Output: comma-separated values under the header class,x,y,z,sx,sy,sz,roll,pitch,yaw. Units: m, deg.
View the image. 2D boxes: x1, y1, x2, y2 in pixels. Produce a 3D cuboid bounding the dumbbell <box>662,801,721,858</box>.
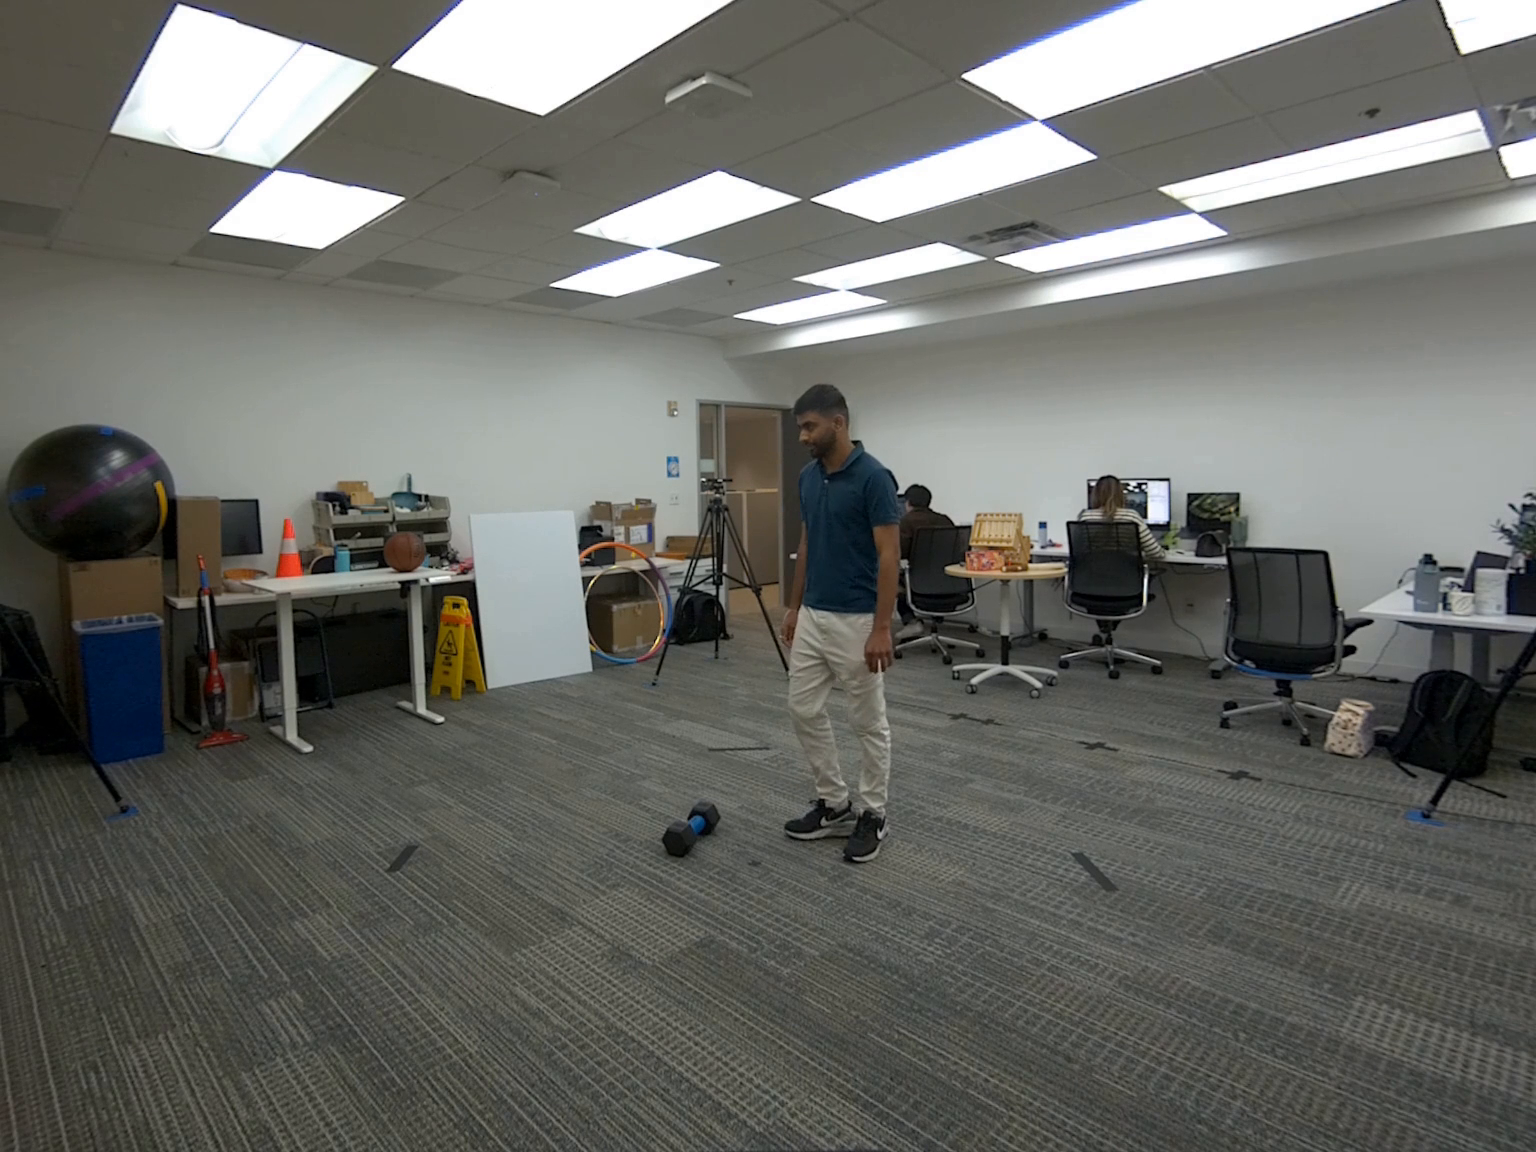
class,x,y,z,sx,sy,sz,roll,pitch,yaw
dumbbell,-0.291,0.975,3.298,0.109,0.124,0.289,-31,-6,21
